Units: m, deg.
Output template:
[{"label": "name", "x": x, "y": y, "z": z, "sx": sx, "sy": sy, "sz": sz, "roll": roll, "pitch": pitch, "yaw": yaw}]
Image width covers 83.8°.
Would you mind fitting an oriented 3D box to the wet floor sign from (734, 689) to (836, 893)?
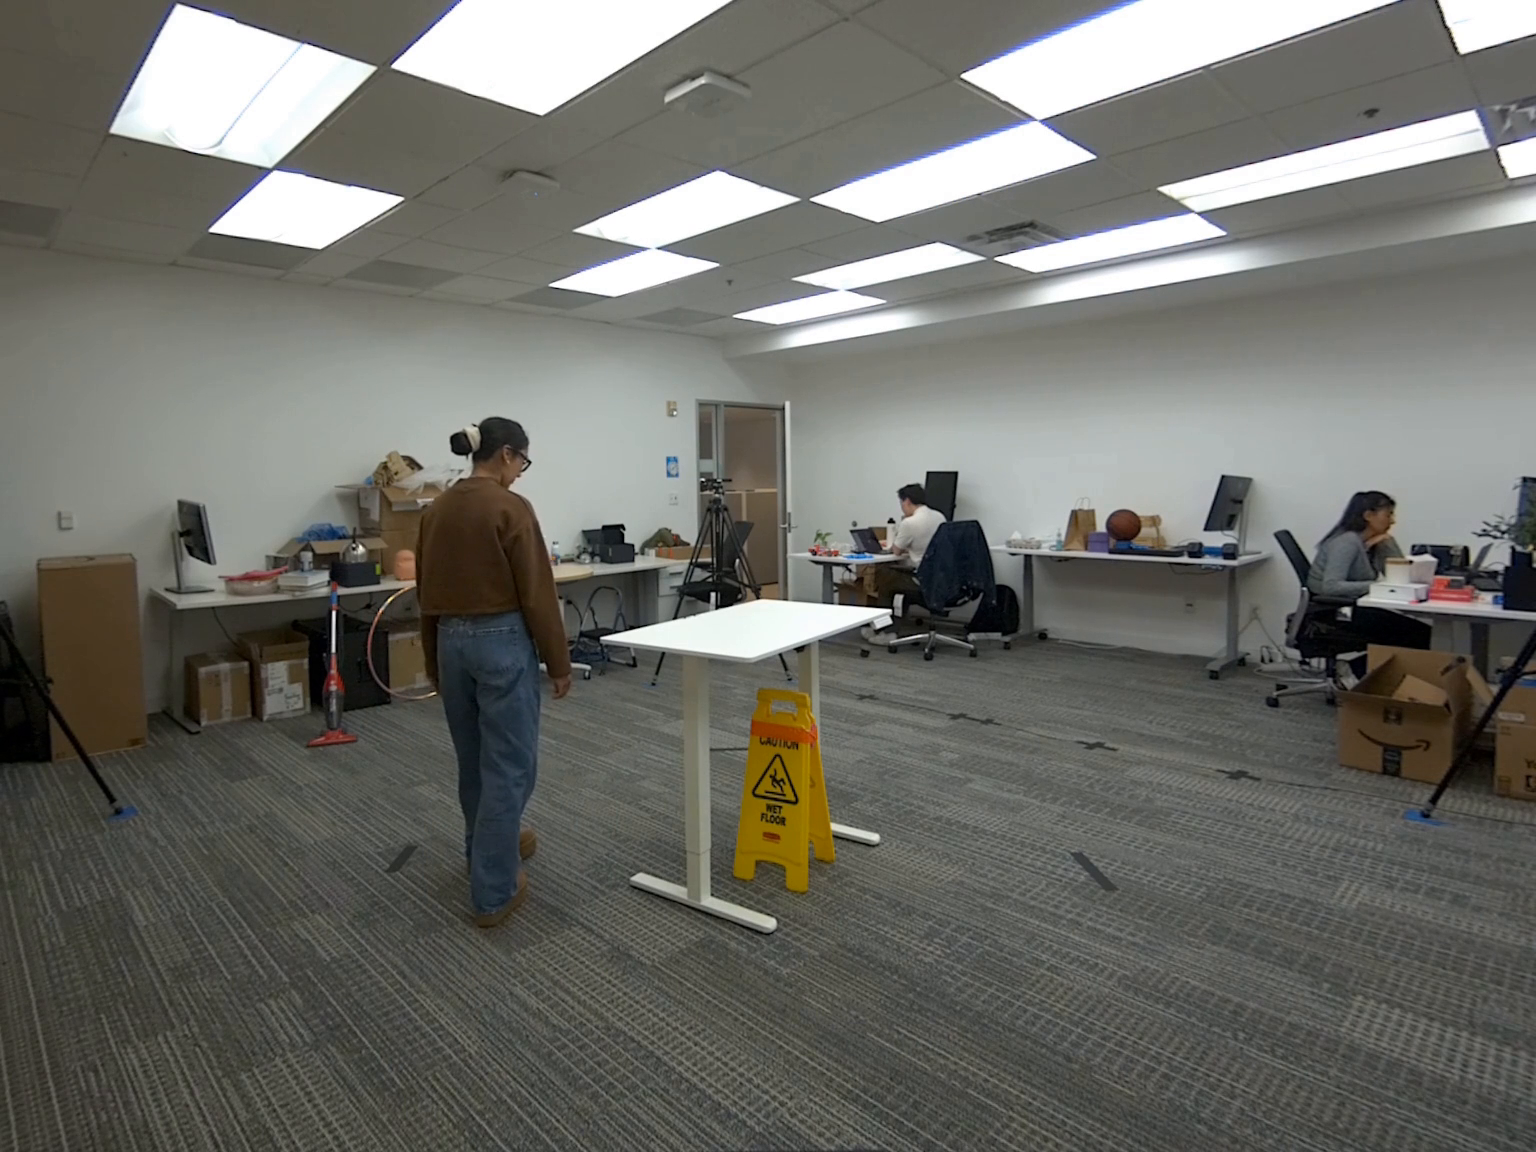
[{"label": "wet floor sign", "x": 0.056, "y": 0.726, "z": 3.036, "sx": 0.289, "sy": 0.644, "sz": 0.284, "roll": 1, "pitch": 4, "yaw": 27}]
